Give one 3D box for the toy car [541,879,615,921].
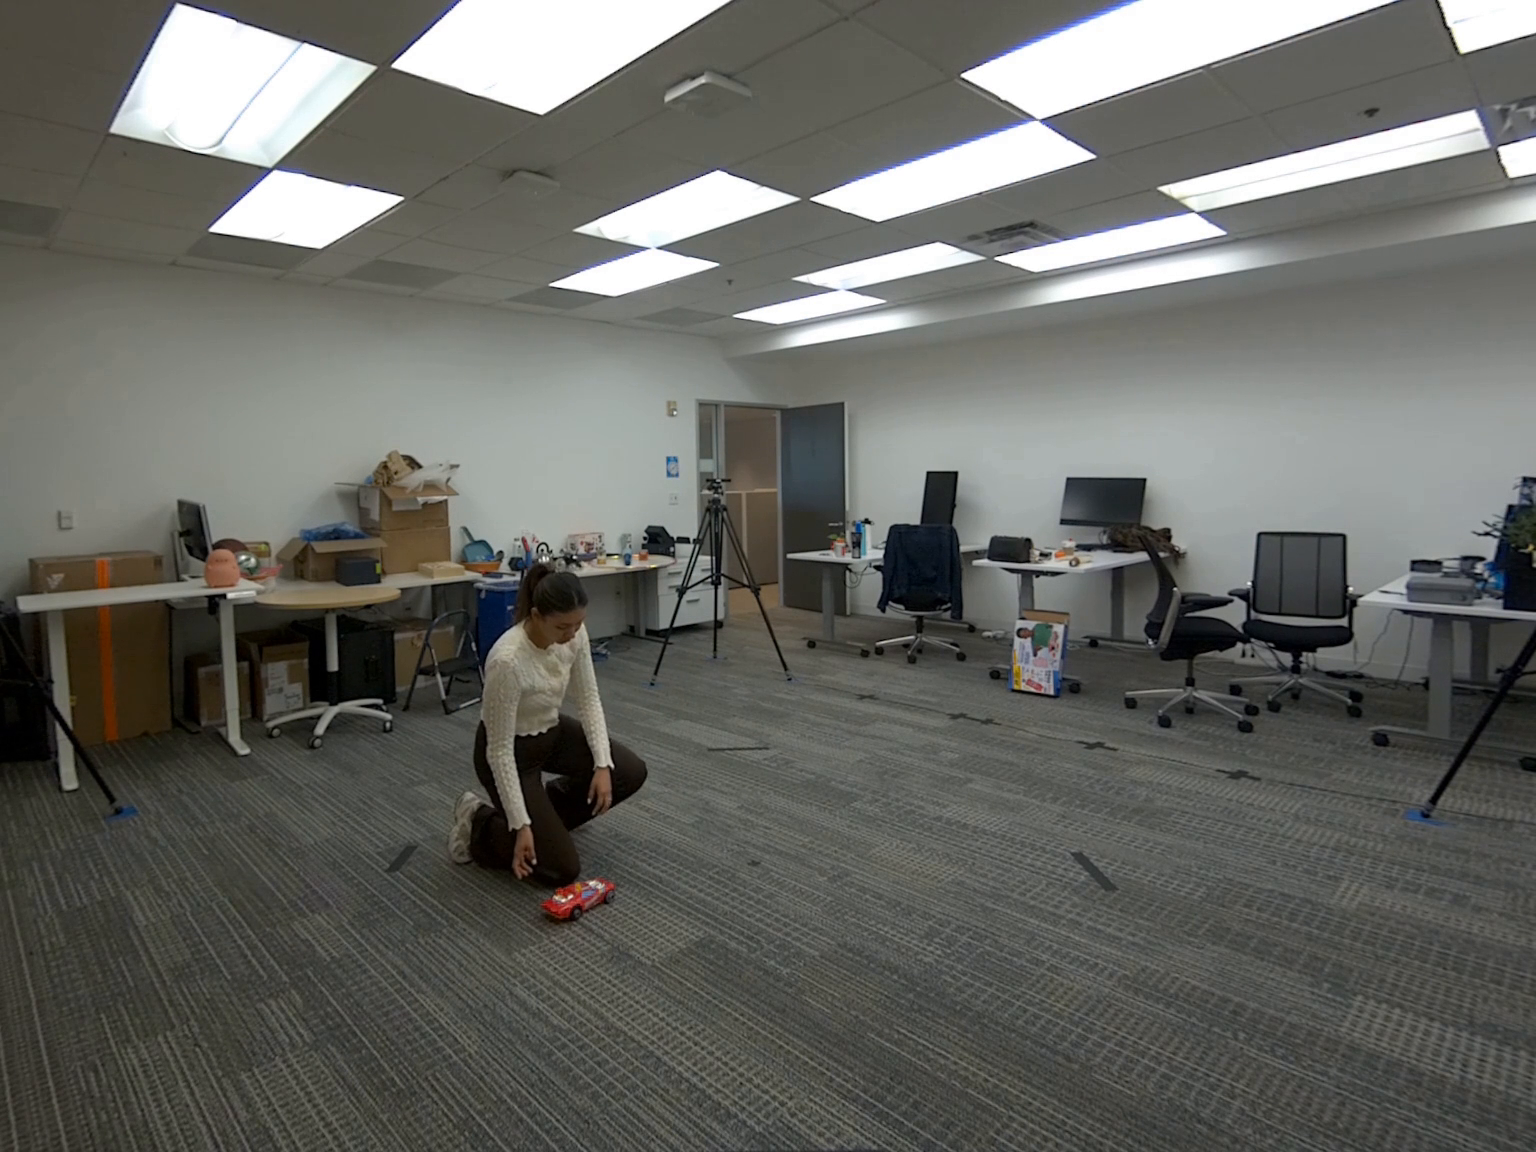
[{"bbox_3d":[-0.626,1.062,2.793,0.134,0.083,0.246,4,-3,42],"label":"toy car"}]
